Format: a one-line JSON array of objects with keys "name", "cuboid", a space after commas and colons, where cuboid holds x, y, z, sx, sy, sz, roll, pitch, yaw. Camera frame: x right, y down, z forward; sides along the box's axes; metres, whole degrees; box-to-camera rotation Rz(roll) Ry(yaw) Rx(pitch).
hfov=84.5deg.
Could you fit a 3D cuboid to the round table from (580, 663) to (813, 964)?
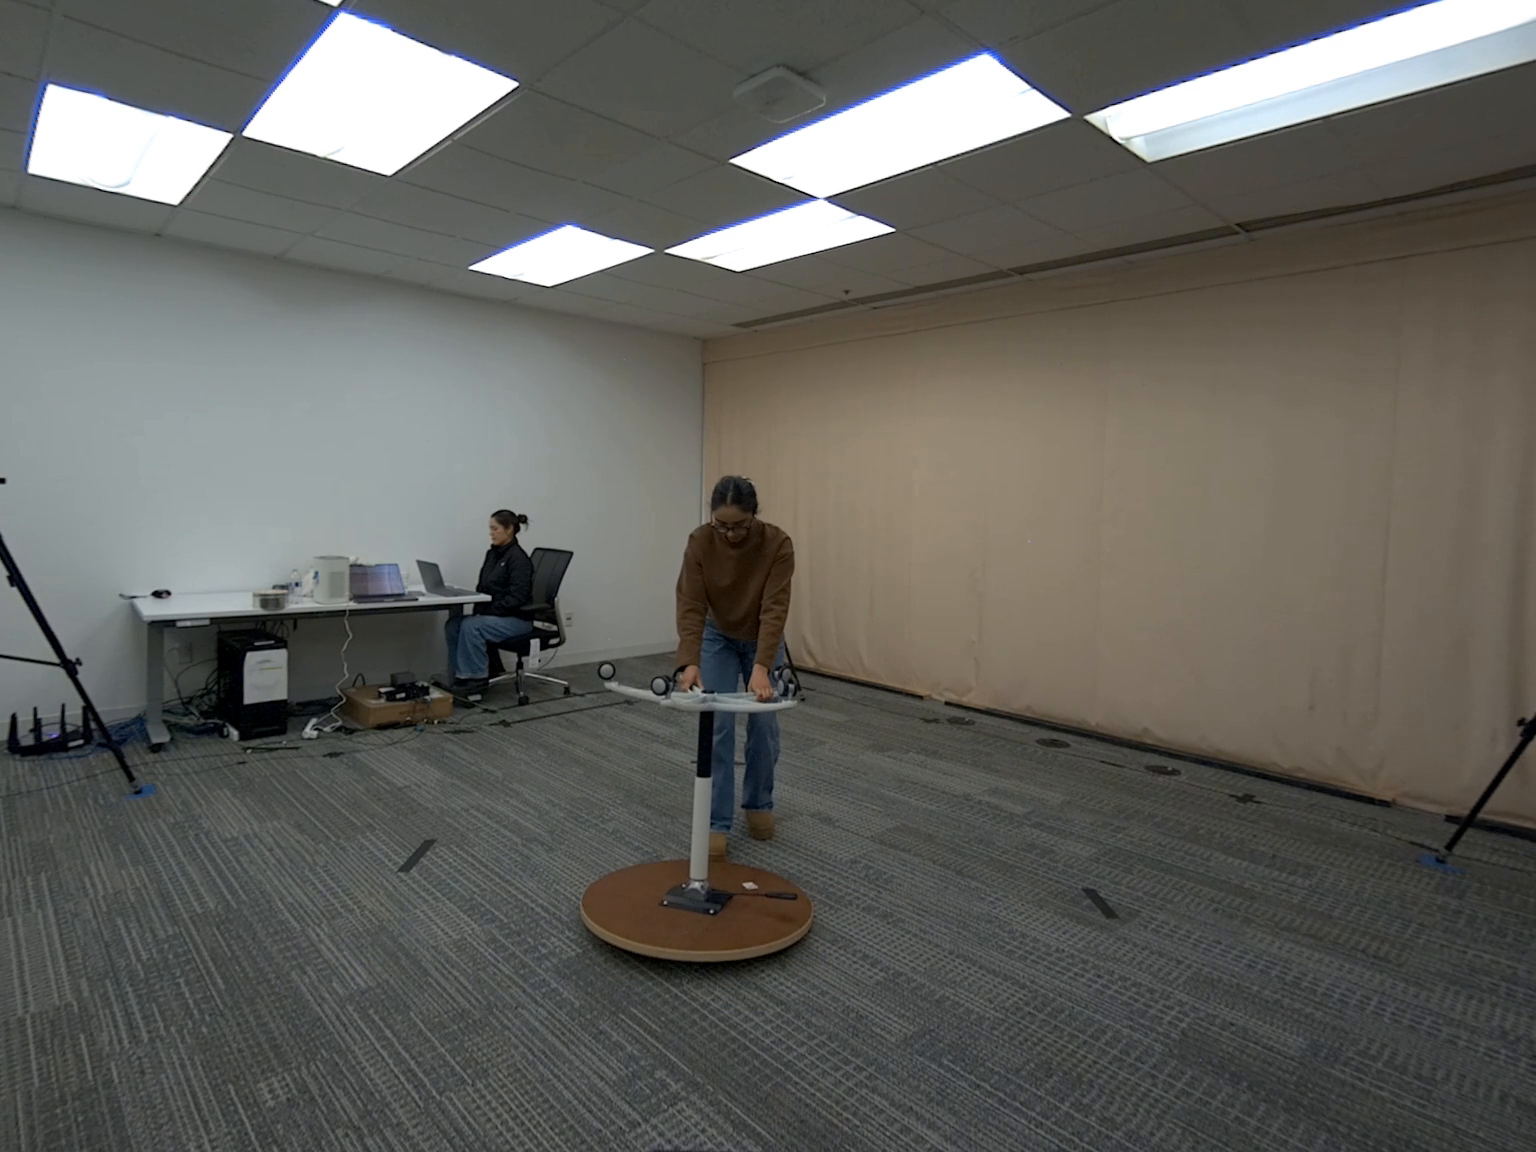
[{"name": "round table", "cuboid": [-0.223, 0.711, 2.797, 0.763, 0.794, 0.764, 2, 0, -1]}]
